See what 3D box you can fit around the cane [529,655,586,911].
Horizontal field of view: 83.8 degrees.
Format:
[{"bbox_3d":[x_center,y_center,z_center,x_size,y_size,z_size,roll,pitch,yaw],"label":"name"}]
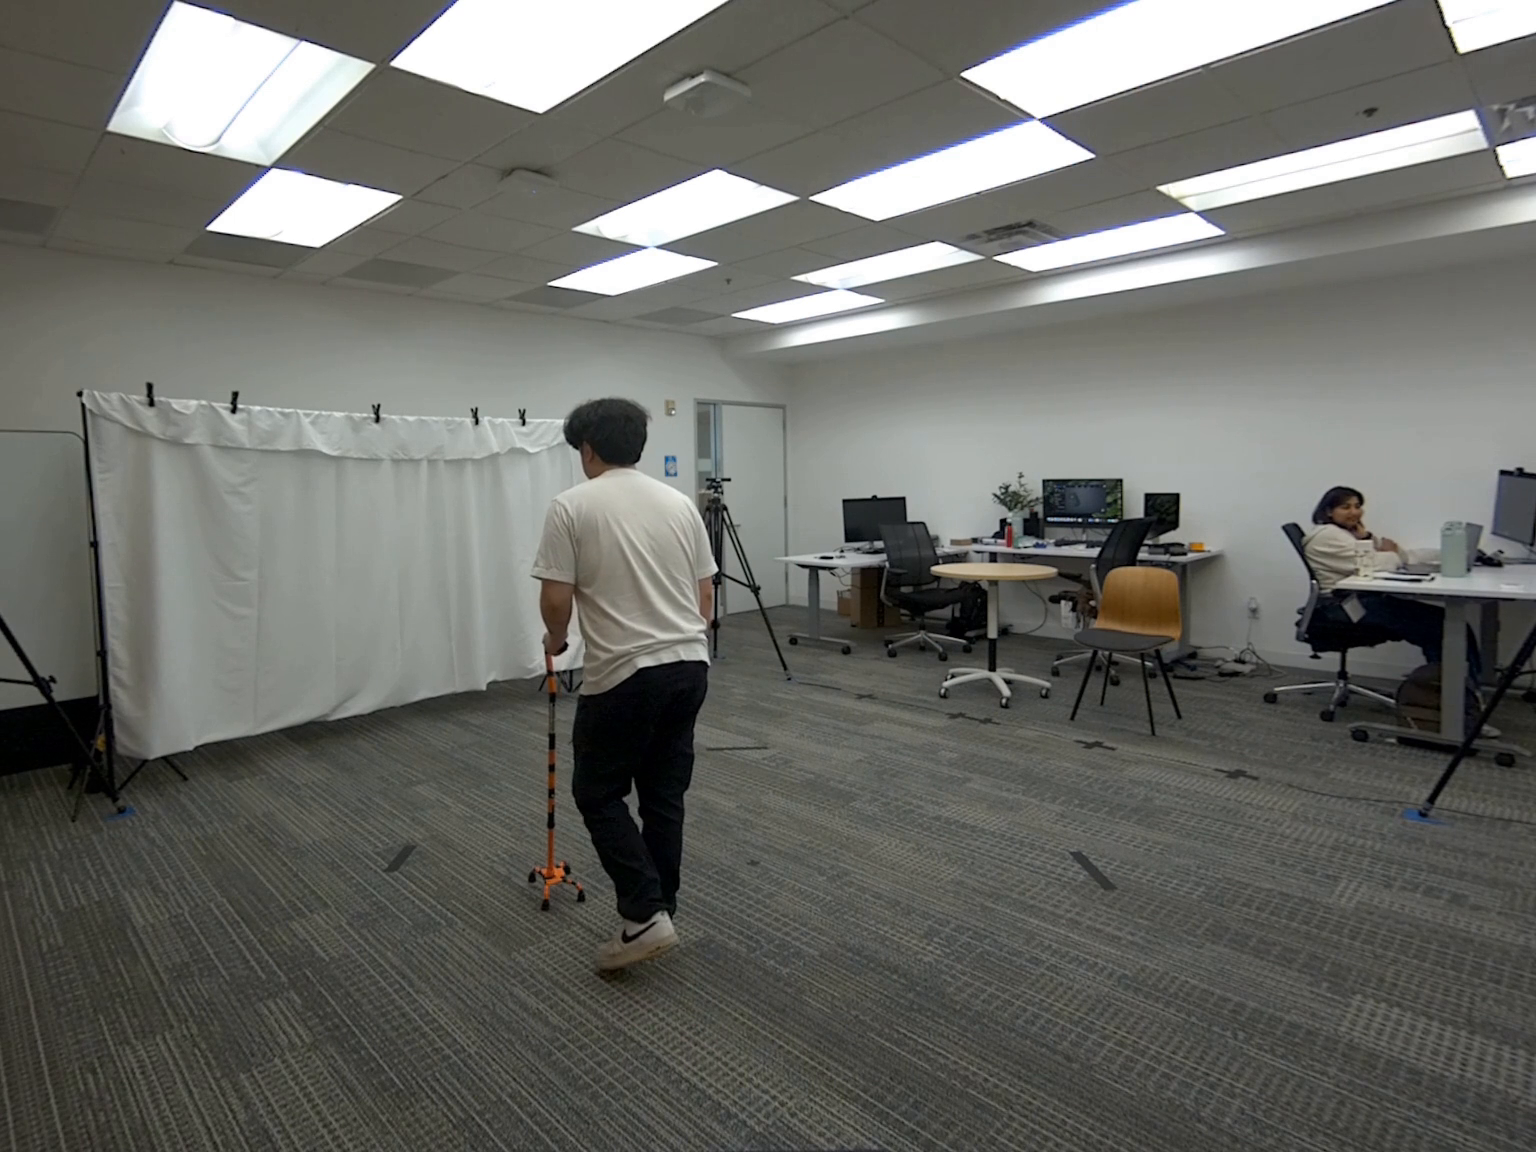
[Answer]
[{"bbox_3d":[-0.700,0.630,2.831,0.148,0.900,0.213,-3,10,-26],"label":"cane"}]
